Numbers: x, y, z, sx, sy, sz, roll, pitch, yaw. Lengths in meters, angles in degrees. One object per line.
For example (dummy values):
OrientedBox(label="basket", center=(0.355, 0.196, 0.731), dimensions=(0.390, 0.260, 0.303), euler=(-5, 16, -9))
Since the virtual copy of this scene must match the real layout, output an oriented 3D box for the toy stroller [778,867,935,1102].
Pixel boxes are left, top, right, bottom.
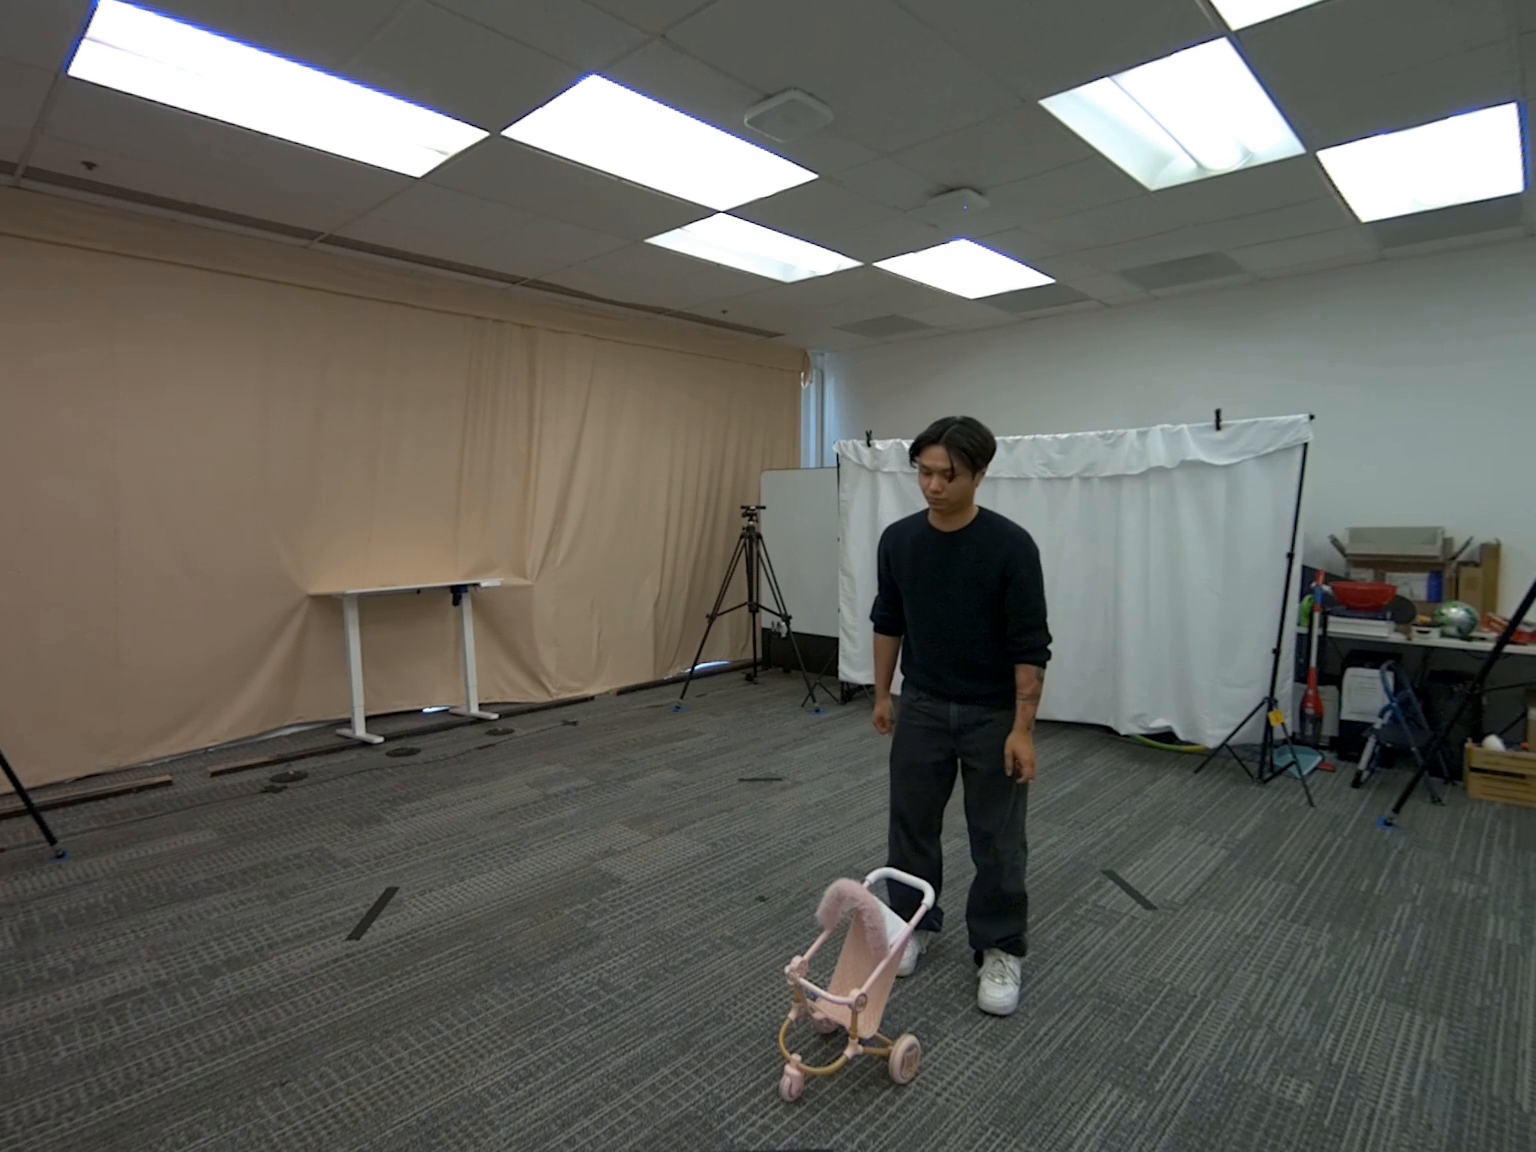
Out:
OrientedBox(label="toy stroller", center=(0.205, 0.999, 2.082), dimensions=(0.330, 0.536, 0.290), euler=(20, -9, -36))
